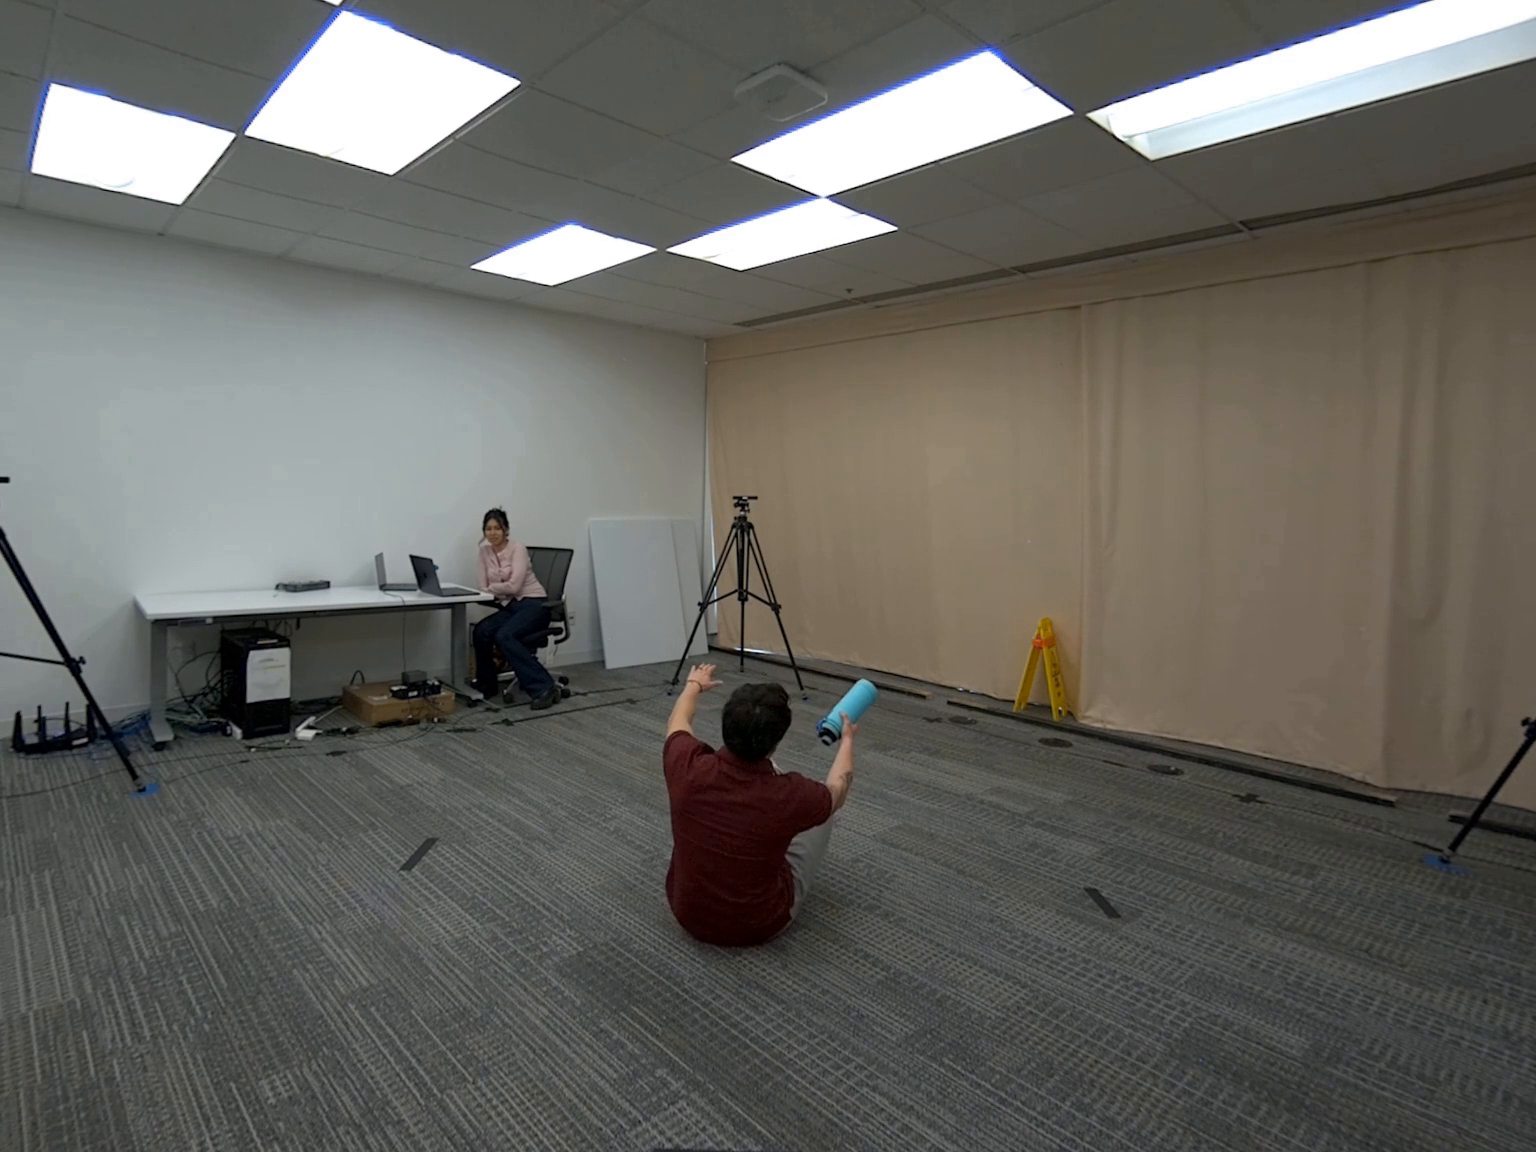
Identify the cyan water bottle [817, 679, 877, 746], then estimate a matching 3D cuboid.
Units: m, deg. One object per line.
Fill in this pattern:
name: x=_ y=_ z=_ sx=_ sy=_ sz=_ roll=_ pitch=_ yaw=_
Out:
cyan water bottle: x=0.277 y=0.501 z=3.024 sx=0.282 sy=0.090 sz=0.094 roll=-41 pitch=28 yaw=-29
